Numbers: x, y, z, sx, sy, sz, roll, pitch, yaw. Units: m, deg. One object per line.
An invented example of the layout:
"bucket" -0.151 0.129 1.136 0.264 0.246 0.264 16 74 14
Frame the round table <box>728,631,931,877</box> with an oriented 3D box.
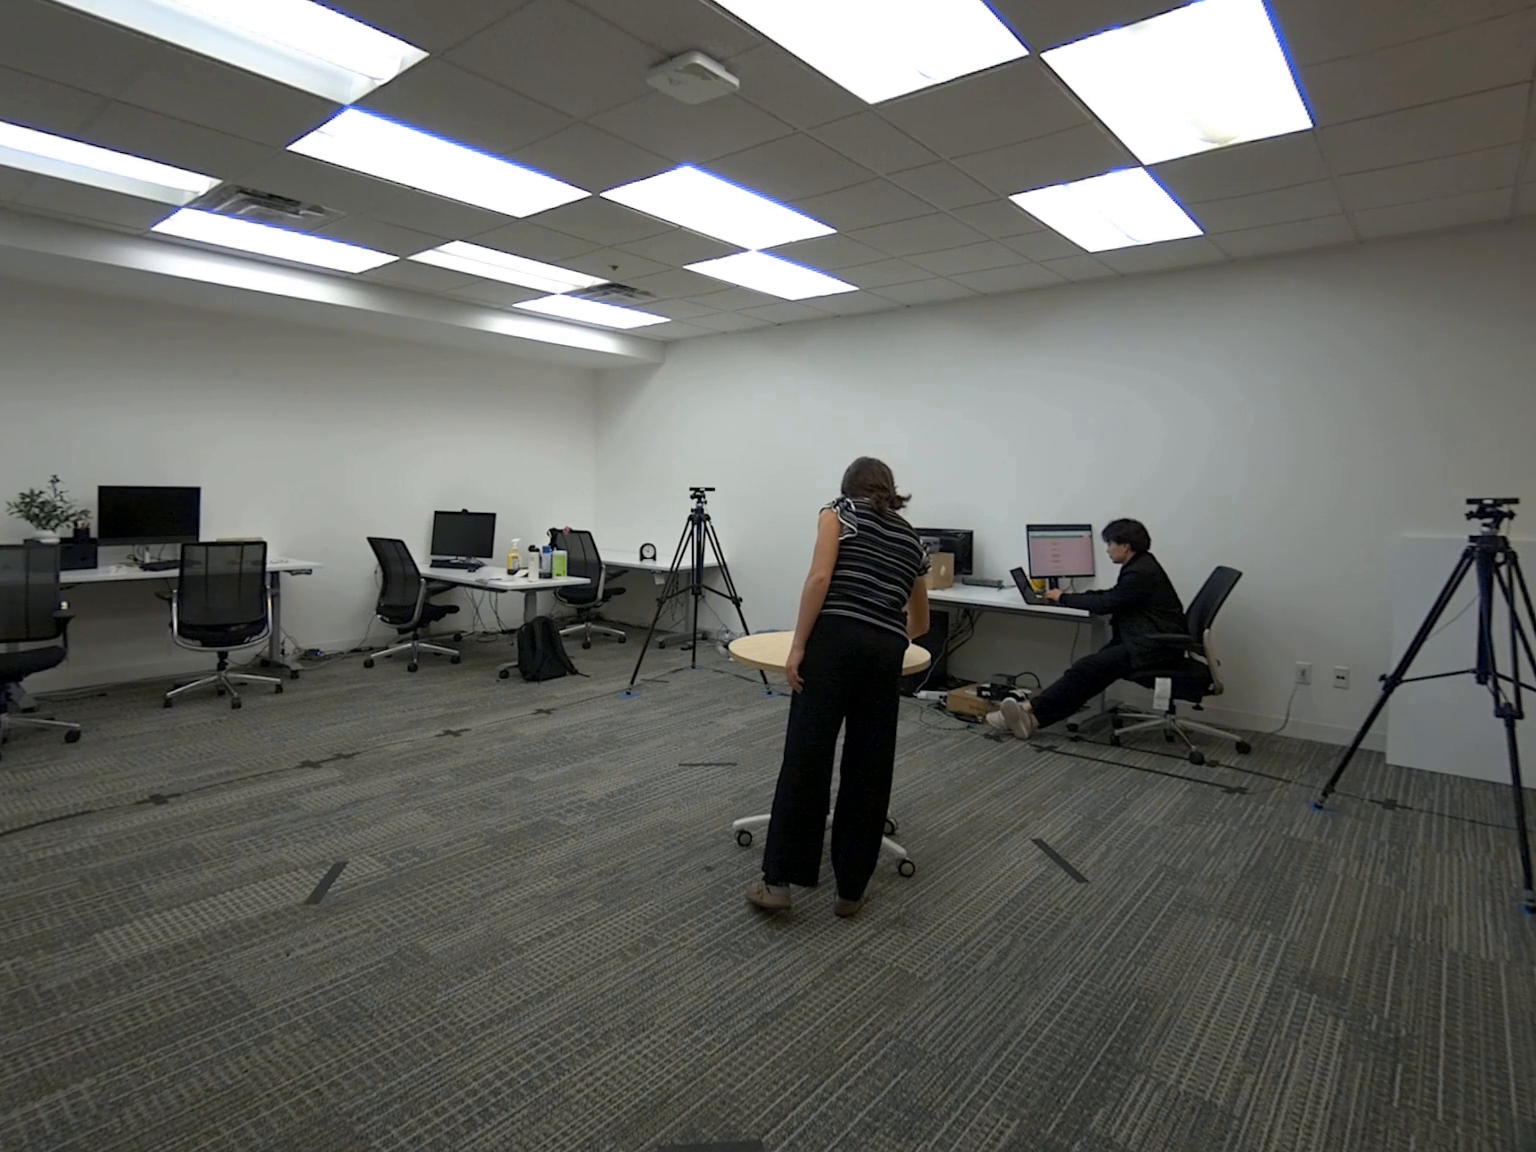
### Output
"round table" 0.215 0.666 3.294 0.763 0.791 0.768 1 5 -2
